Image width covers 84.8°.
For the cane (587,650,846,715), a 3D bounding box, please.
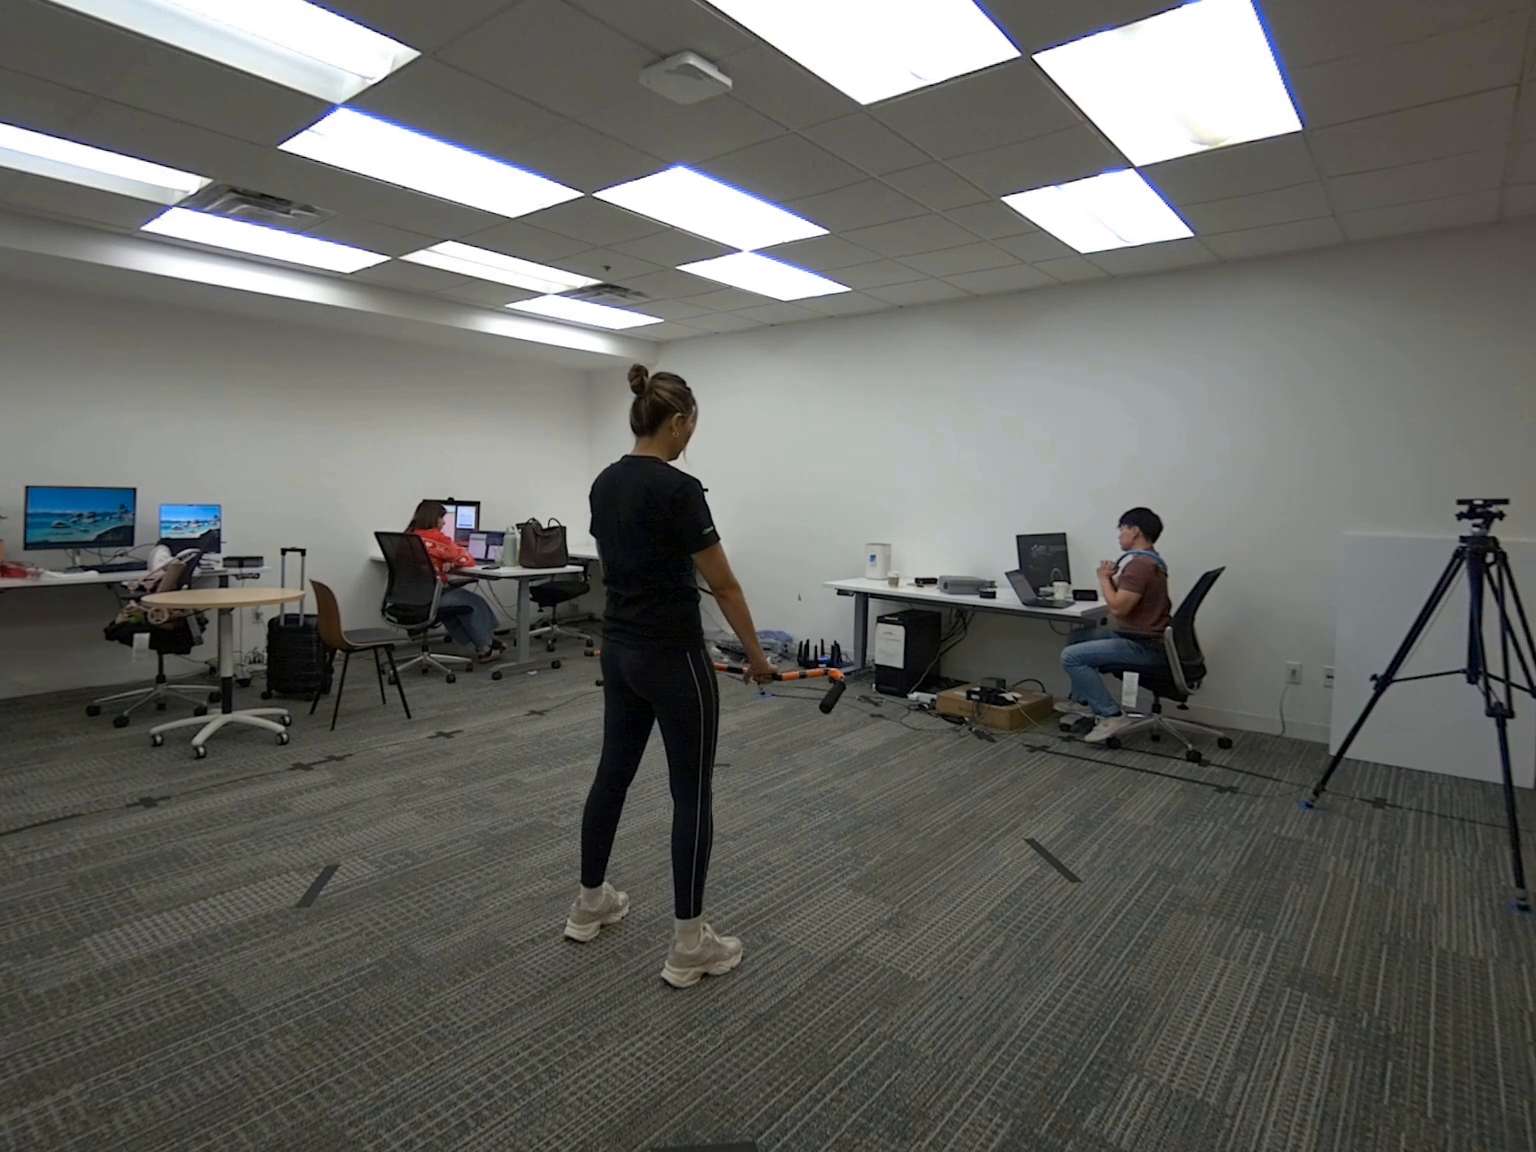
[{"bbox_3d":[-0.160,0.294,2.669,0.938,0.147,0.206,6,36,36],"label":"cane"}]
